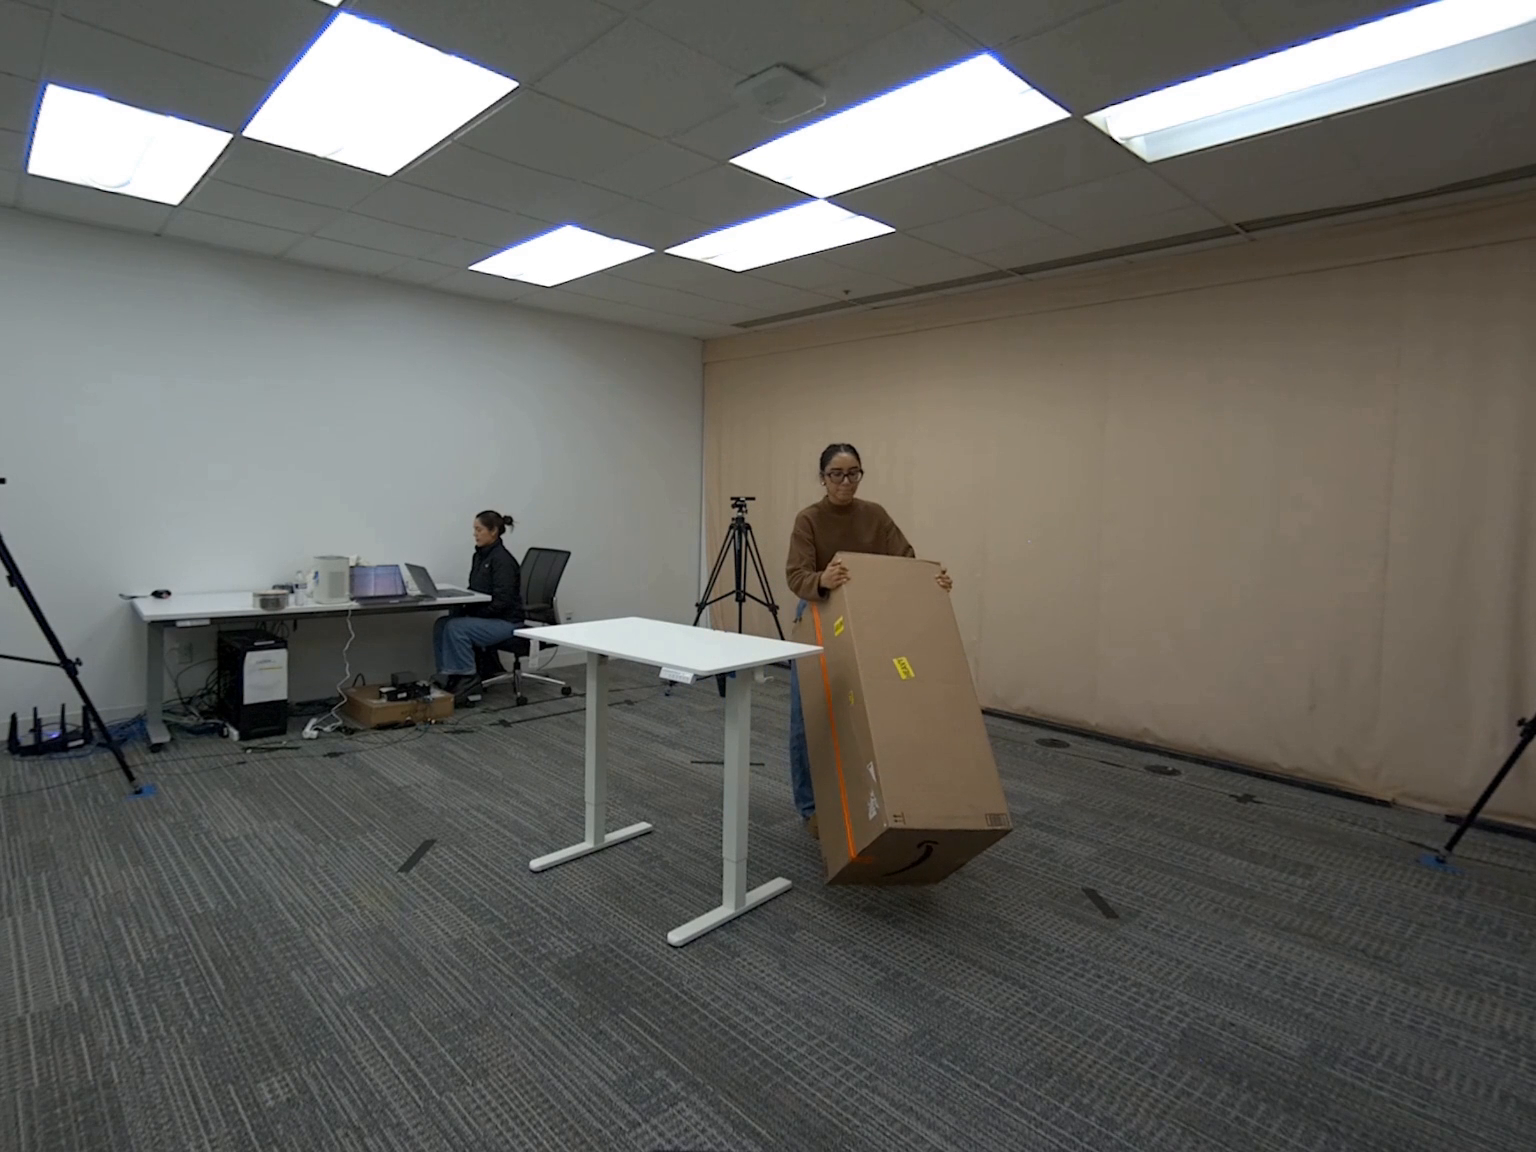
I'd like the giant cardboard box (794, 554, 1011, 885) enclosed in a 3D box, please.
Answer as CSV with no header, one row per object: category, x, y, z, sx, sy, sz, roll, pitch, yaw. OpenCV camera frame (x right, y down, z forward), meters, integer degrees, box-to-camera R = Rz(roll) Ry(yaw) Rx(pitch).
giant cardboard box,0.422,0.515,3.054,0.421,1.050,0.571,5,-38,-15
